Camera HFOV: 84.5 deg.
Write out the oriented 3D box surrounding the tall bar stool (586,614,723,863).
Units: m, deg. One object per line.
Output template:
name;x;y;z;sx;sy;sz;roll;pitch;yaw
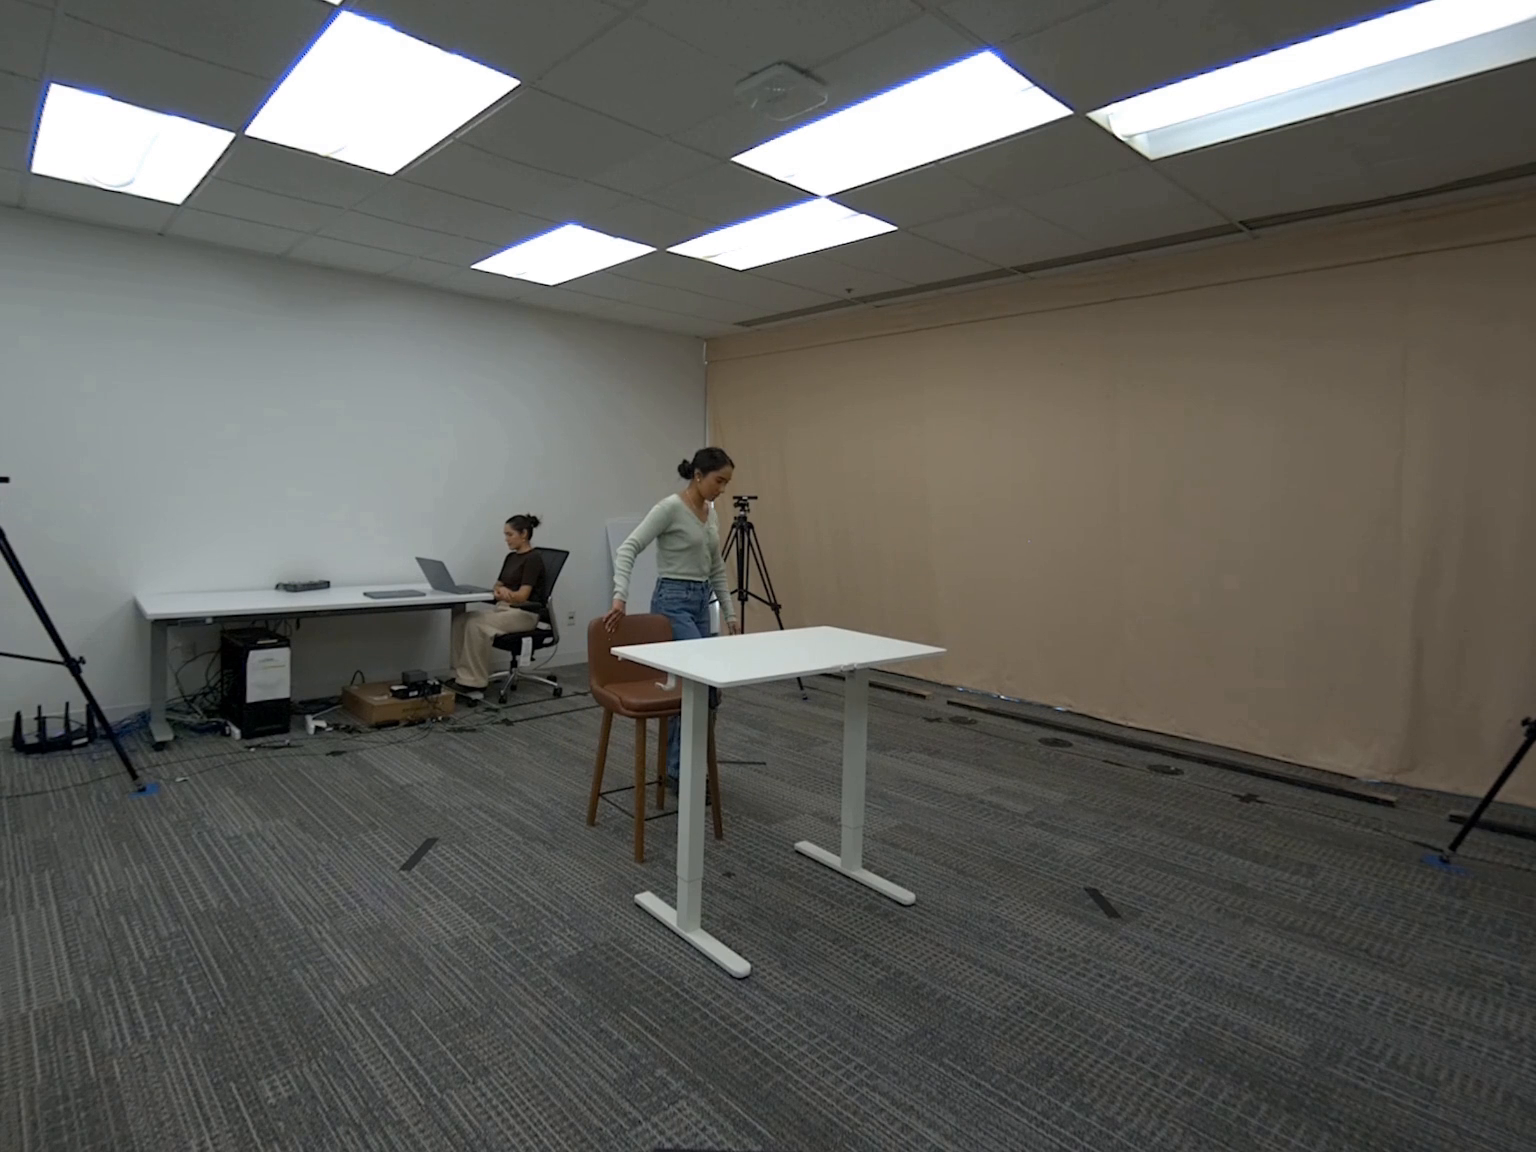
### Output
tall bar stool;-0.482;0.623;3.467;0.446;0.889;0.479;-1;2;-39
